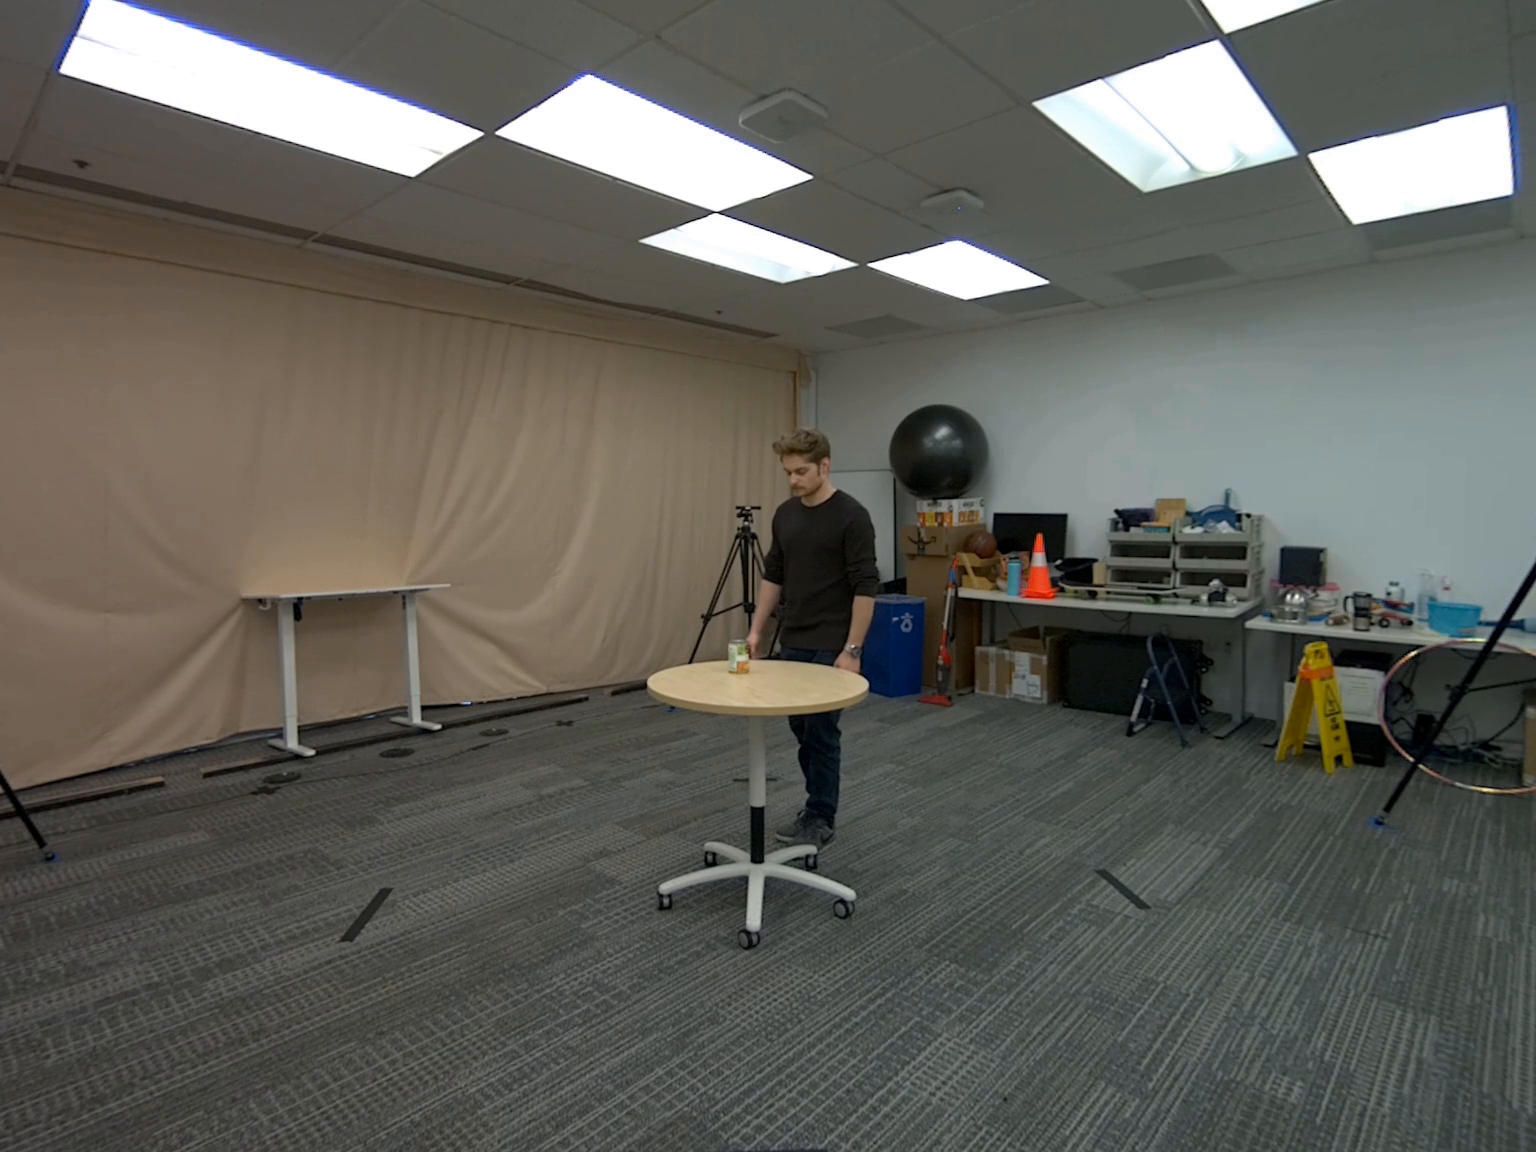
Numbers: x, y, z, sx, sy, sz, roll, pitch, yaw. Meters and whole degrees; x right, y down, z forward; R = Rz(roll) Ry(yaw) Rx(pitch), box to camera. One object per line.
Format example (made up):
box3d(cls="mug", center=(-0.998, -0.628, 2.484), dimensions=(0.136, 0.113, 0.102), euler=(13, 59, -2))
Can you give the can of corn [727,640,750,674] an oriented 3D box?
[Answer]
box3d(cls="can of corn", center=(-0.110, 0.300, 3.073), dimensions=(0.074, 0.111, 0.074), euler=(-1, 3, -2))
